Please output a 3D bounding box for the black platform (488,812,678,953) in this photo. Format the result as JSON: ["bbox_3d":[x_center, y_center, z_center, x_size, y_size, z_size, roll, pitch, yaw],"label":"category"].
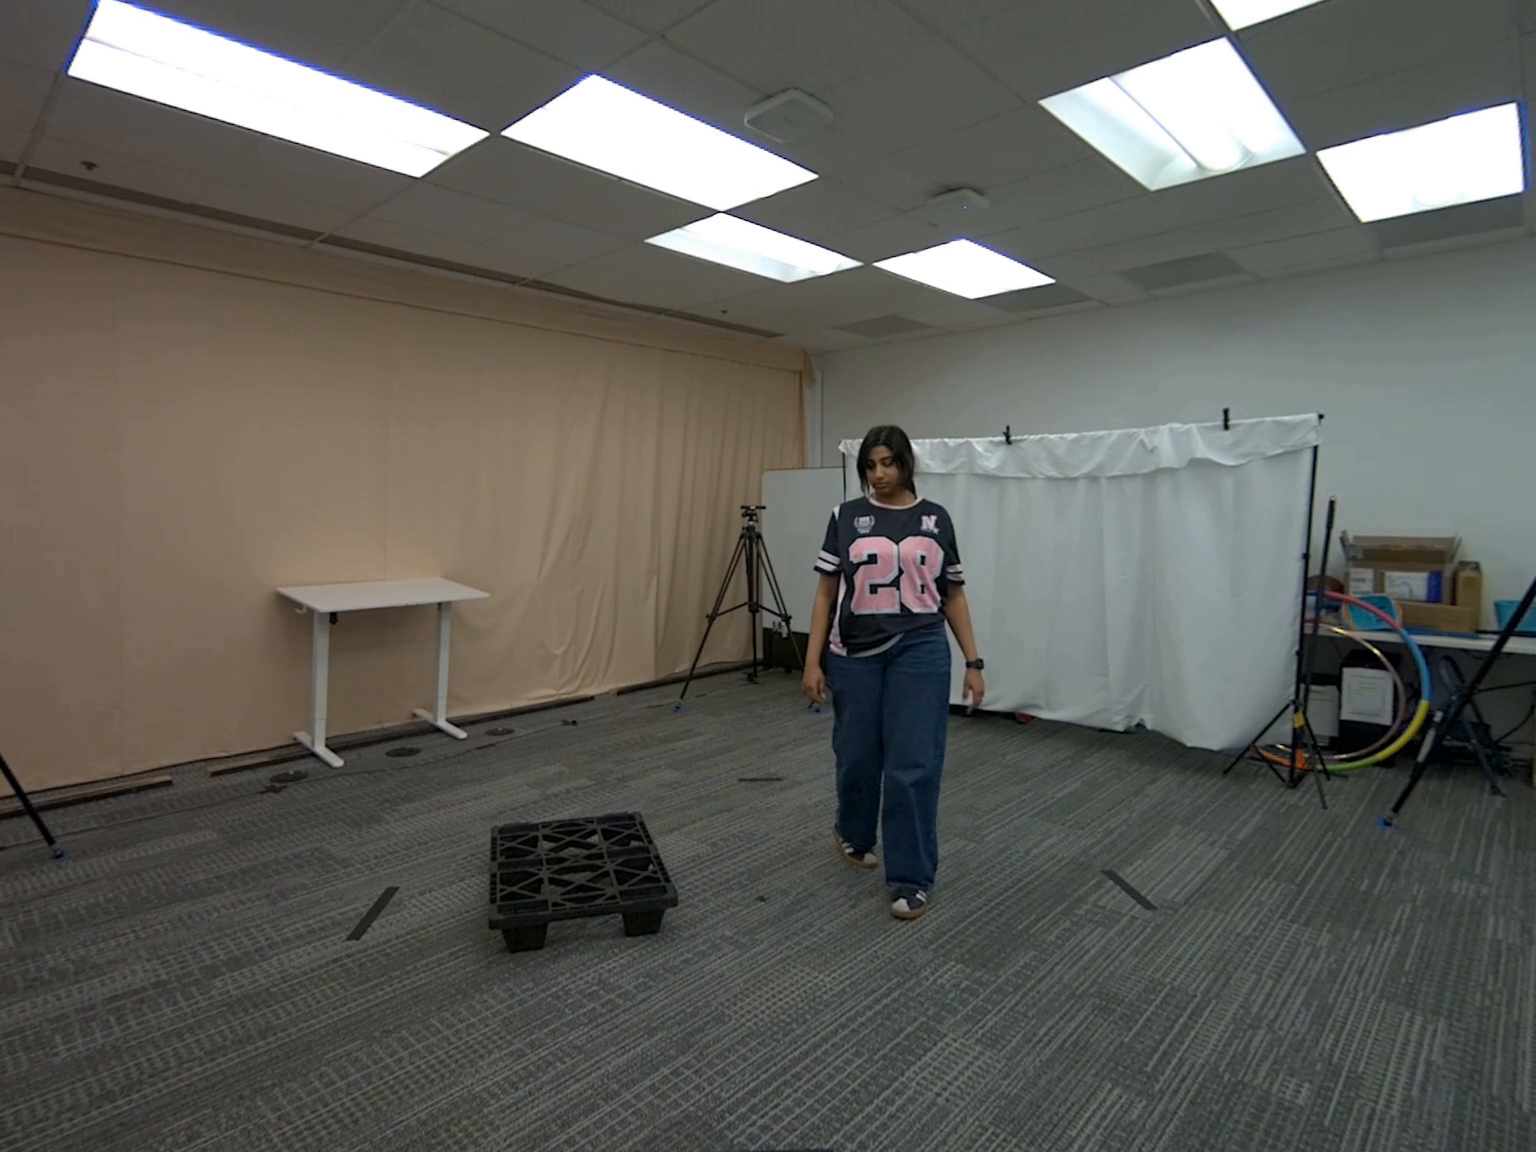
[{"bbox_3d":[-0.692,1.079,3.037,0.595,0.143,0.821,-1,5,-16],"label":"black platform"}]
